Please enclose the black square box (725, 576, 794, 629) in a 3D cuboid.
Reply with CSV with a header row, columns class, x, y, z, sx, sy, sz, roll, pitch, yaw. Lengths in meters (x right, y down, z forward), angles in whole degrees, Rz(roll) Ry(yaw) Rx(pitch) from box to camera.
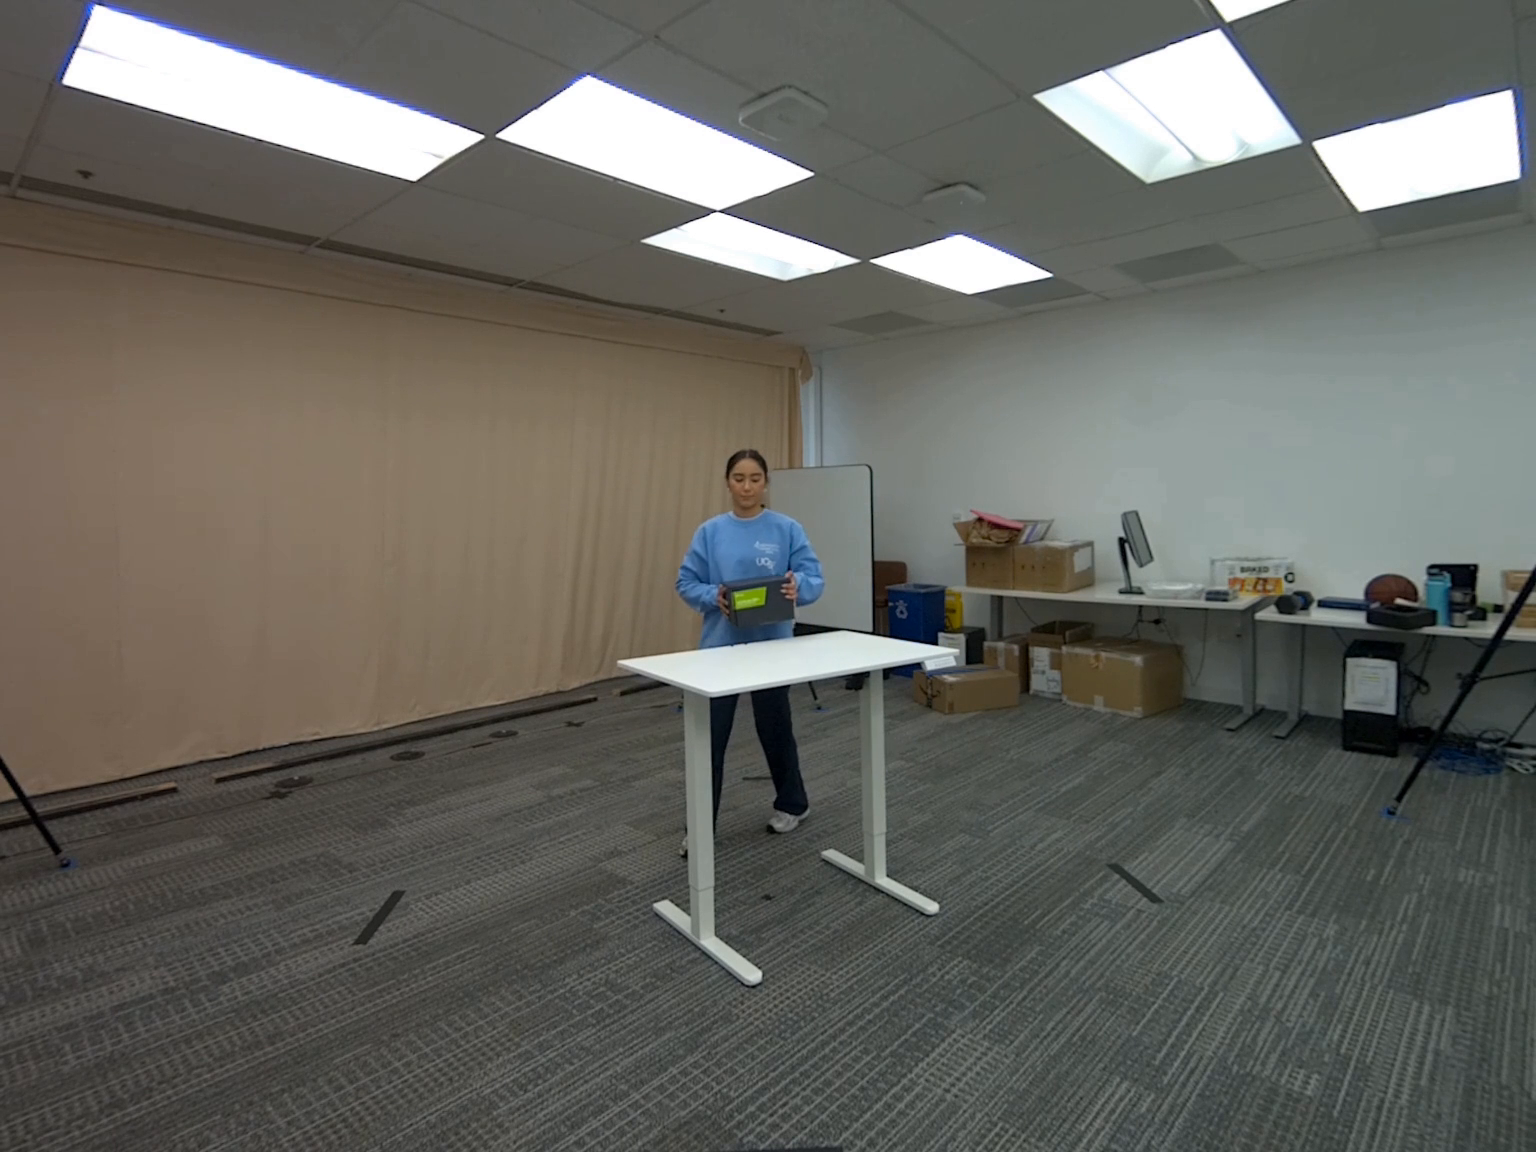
class,x,y,z,sx,sy,sz,roll,pitch,yaw
black square box,-0.031,0.091,3.243,0.226,0.155,0.219,-9,4,-8
